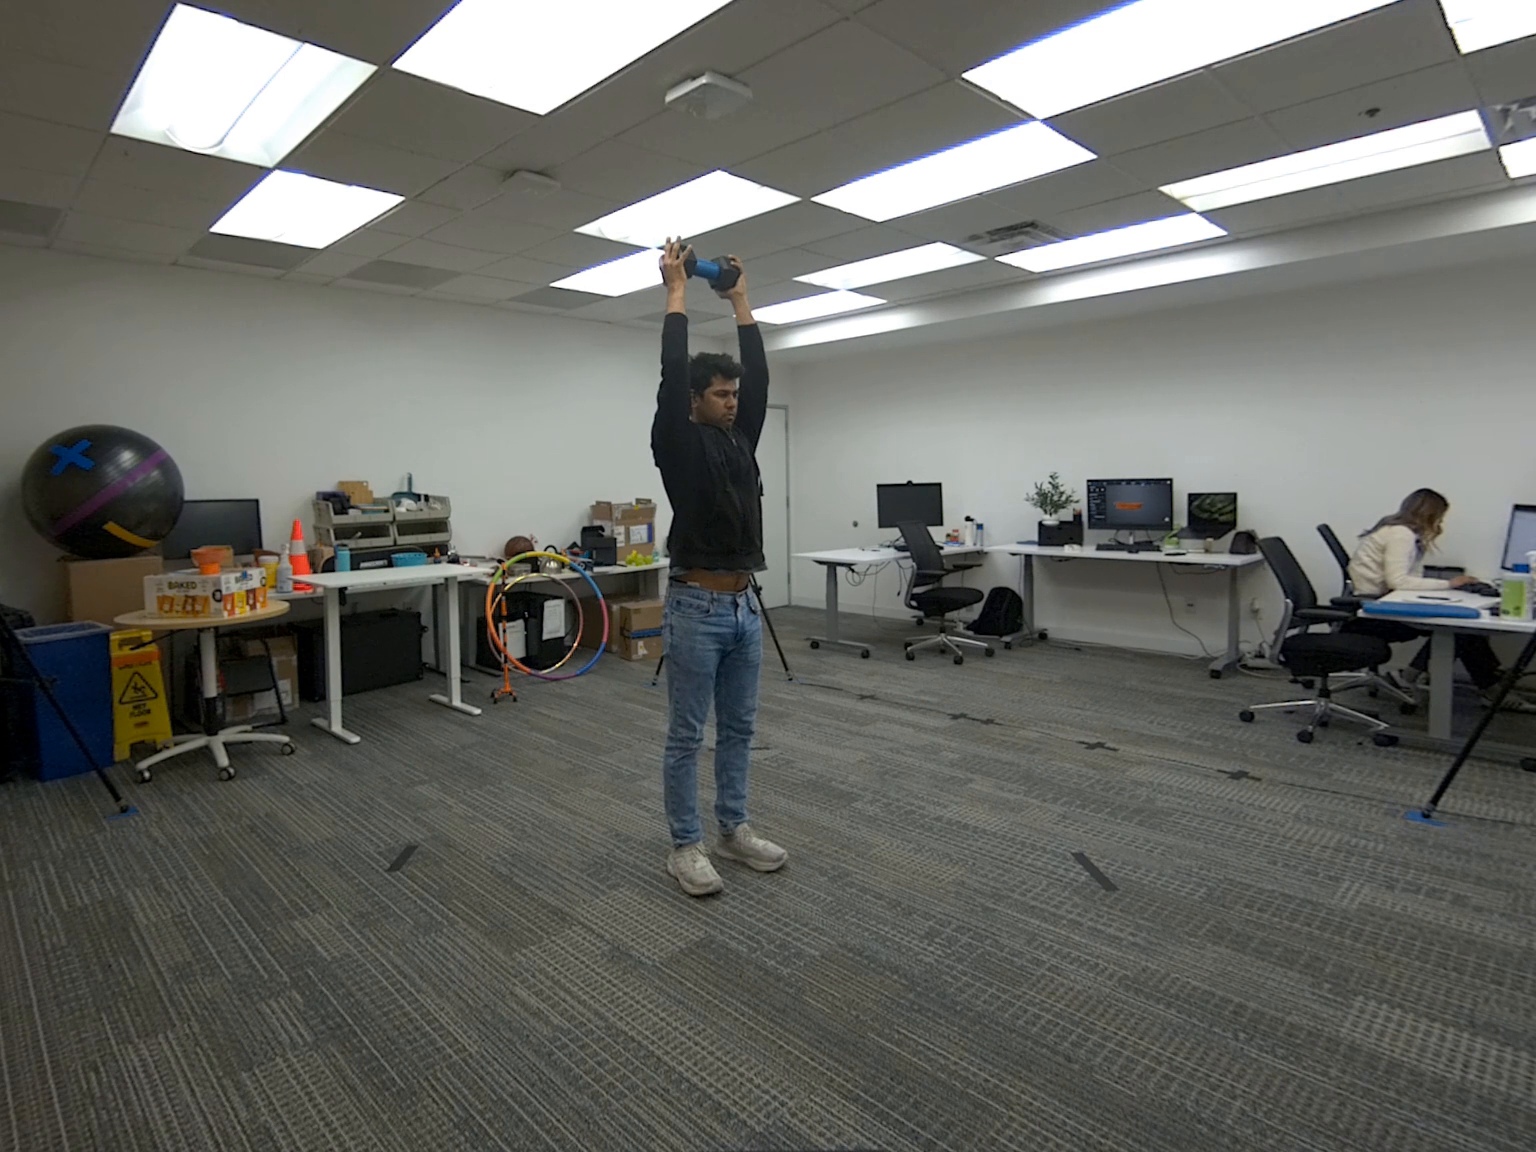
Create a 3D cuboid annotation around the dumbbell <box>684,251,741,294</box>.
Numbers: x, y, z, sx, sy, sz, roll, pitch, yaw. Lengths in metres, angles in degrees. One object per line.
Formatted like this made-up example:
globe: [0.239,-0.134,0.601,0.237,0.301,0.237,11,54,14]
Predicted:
dumbbell: [-0.228,-1.089,3.014,0.285,0.109,0.126,-4,2,-44]
